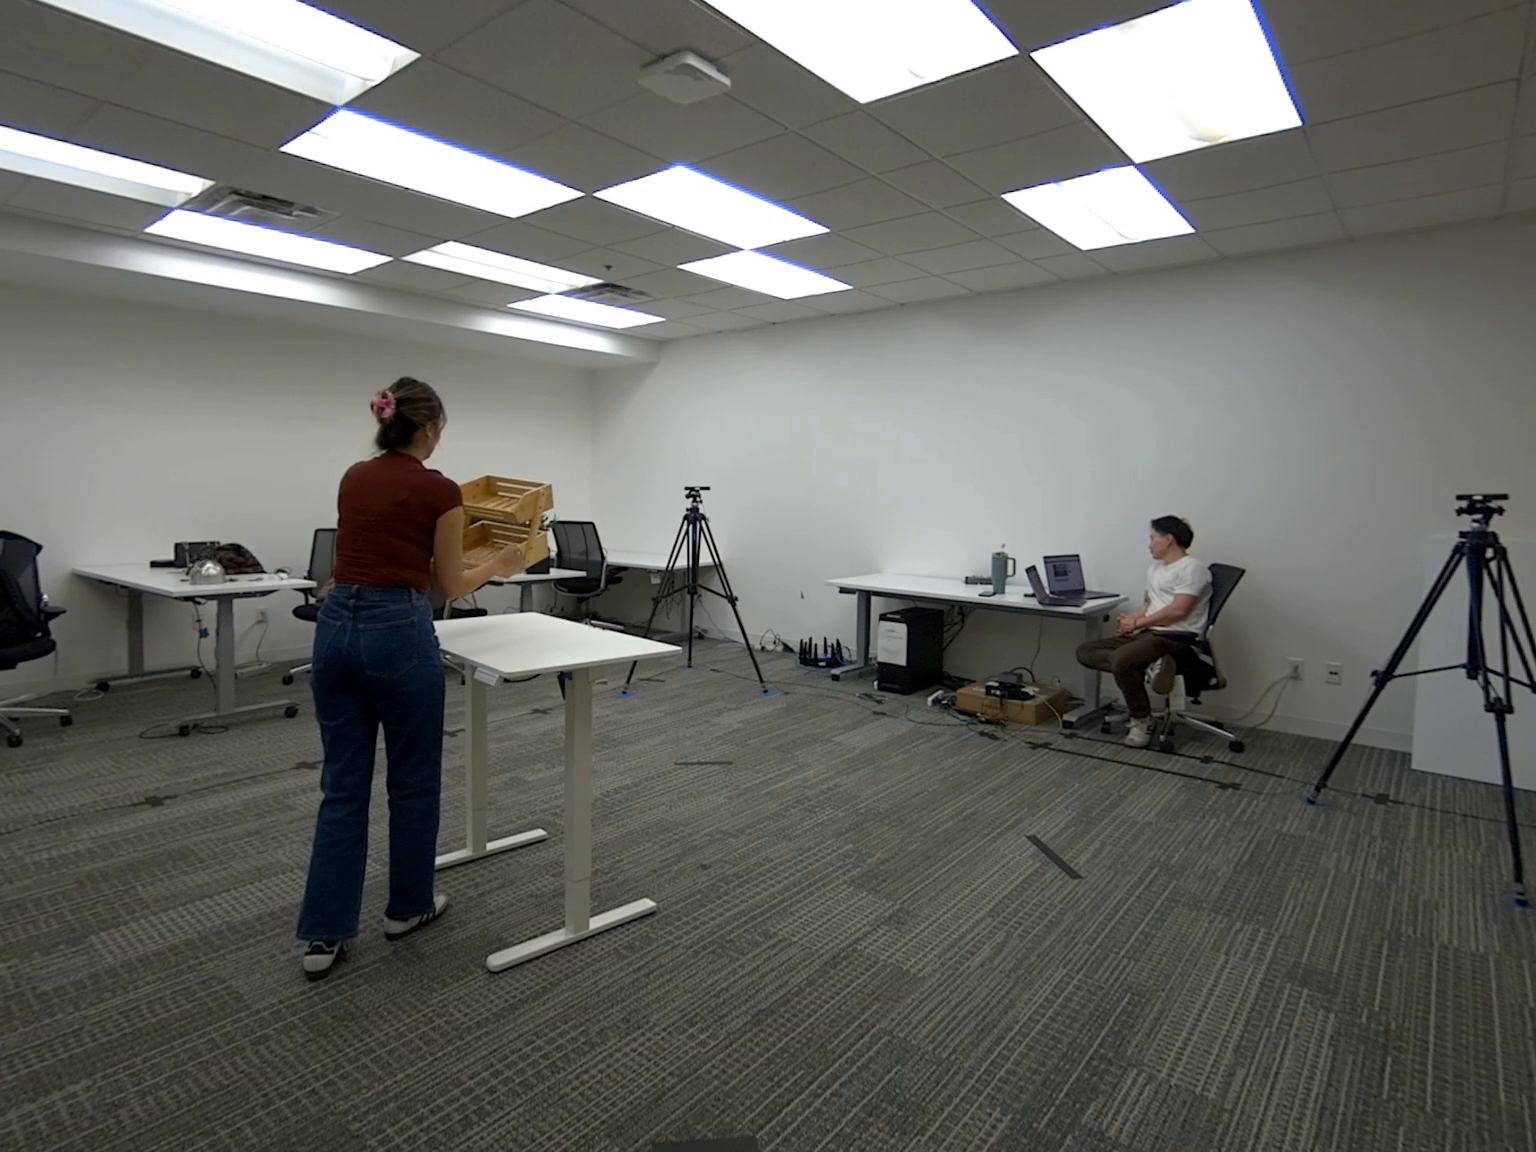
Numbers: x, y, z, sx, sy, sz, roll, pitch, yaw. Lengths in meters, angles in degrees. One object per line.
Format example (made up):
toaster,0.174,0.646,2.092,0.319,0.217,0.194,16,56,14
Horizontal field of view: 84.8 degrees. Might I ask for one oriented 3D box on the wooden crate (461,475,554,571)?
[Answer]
wooden crate,-0.987,-0.184,3.012,0.334,0.268,0.299,10,24,24
